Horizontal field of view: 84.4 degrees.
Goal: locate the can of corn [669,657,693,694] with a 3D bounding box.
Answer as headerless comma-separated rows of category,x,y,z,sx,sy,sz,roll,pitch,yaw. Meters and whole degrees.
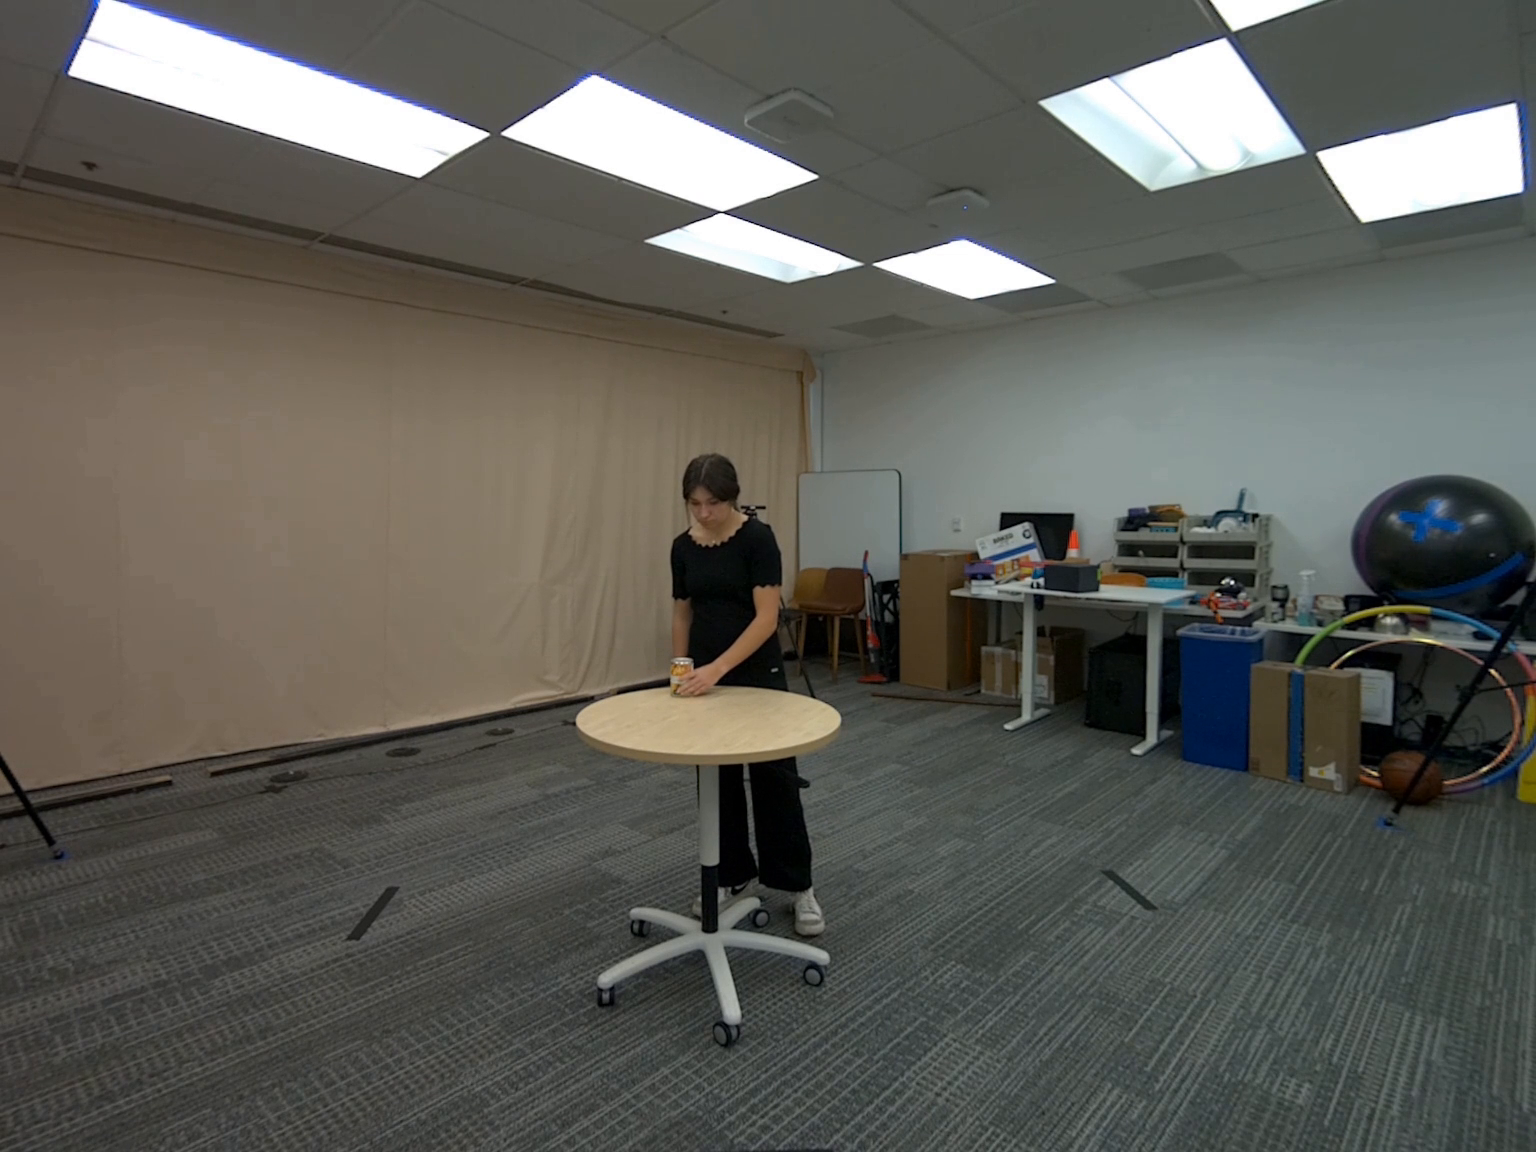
can of corn,-0.273,0.325,2.715,0.074,0.111,0.074,-1,5,-2
